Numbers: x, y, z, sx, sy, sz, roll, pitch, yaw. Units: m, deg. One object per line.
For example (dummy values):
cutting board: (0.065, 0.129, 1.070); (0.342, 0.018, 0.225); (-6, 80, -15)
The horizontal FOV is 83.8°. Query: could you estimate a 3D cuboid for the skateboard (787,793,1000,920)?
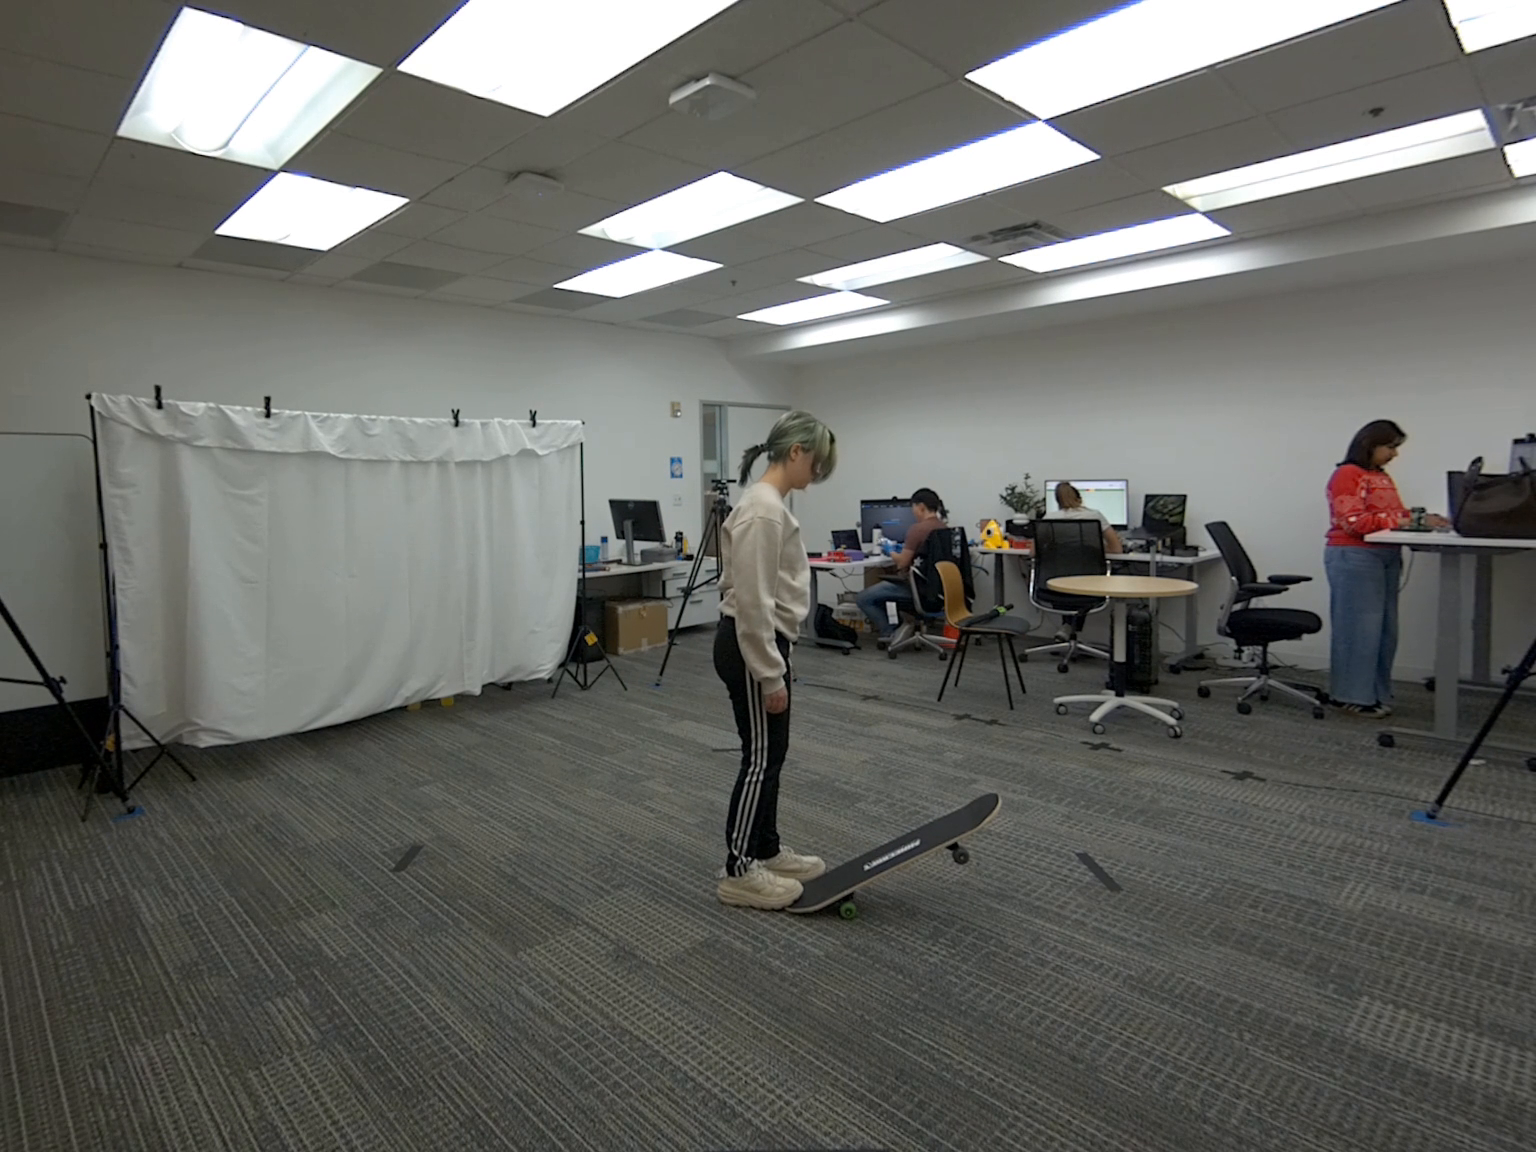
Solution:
skateboard: (0.418, 0.936, 2.756); (0.787, 0.110, 0.194); (-28, 4, 5)
